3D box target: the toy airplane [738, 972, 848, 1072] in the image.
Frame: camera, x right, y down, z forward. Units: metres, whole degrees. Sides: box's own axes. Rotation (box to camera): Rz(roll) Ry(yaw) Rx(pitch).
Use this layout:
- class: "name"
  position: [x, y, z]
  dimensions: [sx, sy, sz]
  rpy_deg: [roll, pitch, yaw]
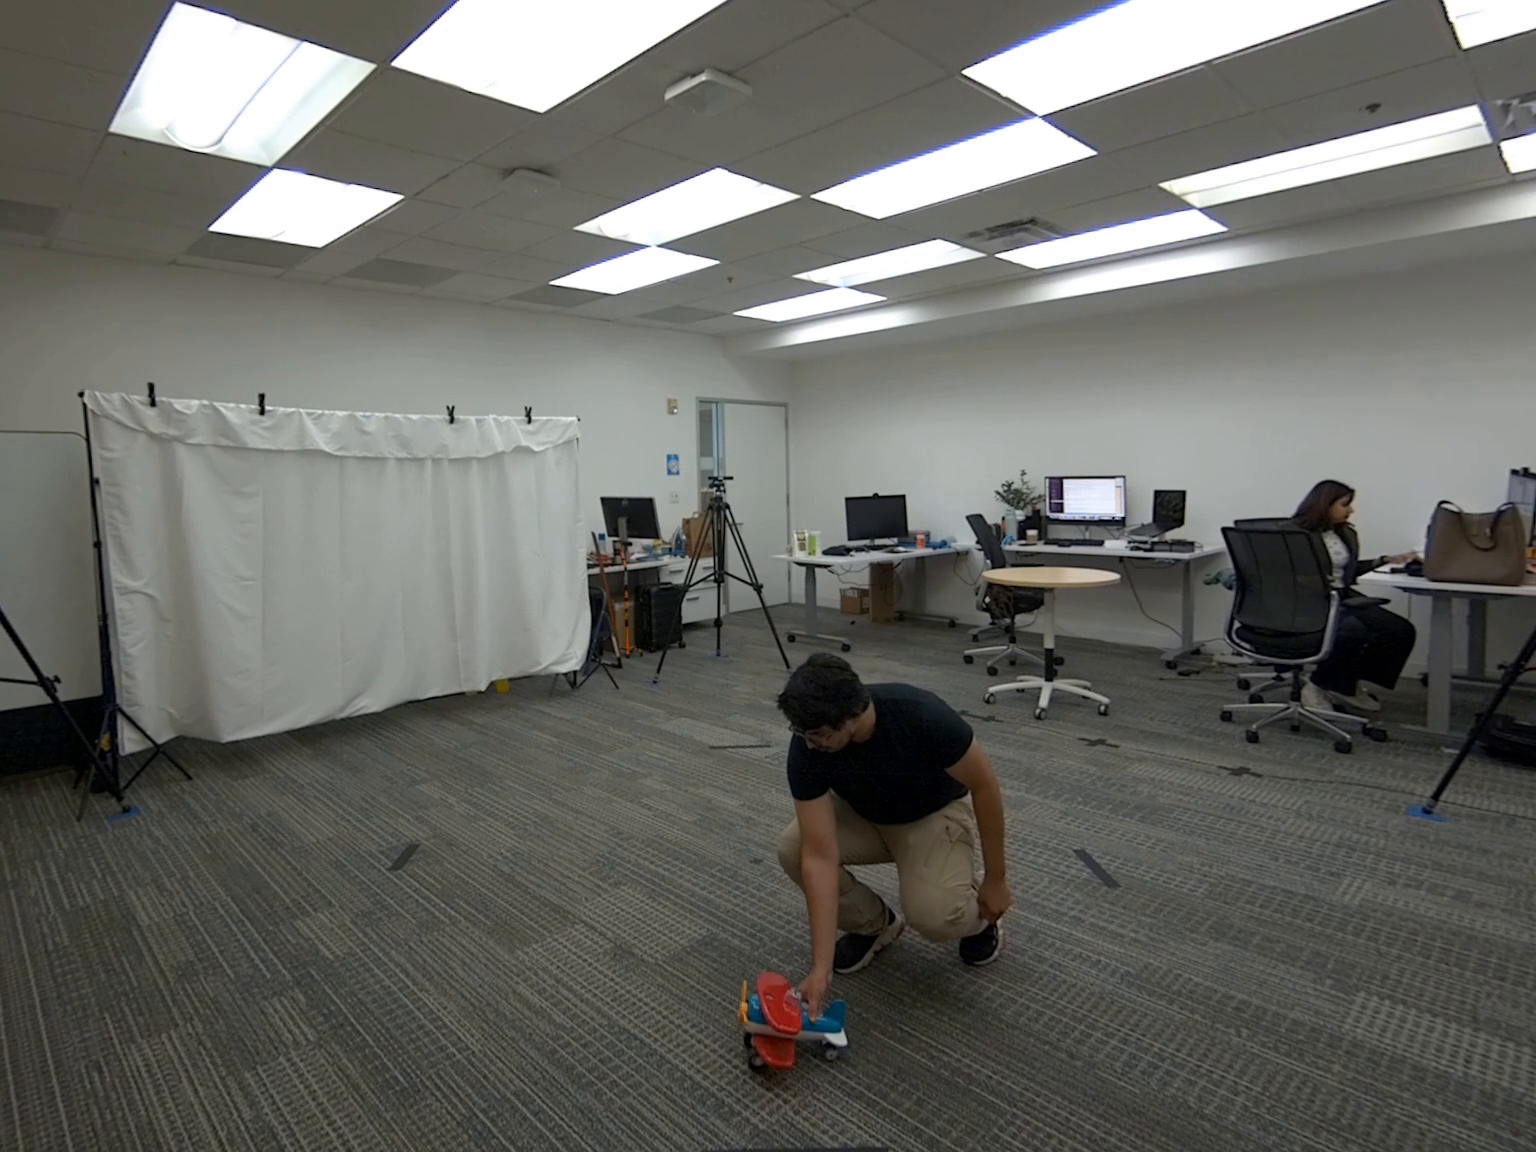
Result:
- class: "toy airplane"
  position: [0.060, 1.085, 2.072]
  dimensions: [0.253, 0.156, 0.258]
  rpy_deg: [-3, 3, -32]
